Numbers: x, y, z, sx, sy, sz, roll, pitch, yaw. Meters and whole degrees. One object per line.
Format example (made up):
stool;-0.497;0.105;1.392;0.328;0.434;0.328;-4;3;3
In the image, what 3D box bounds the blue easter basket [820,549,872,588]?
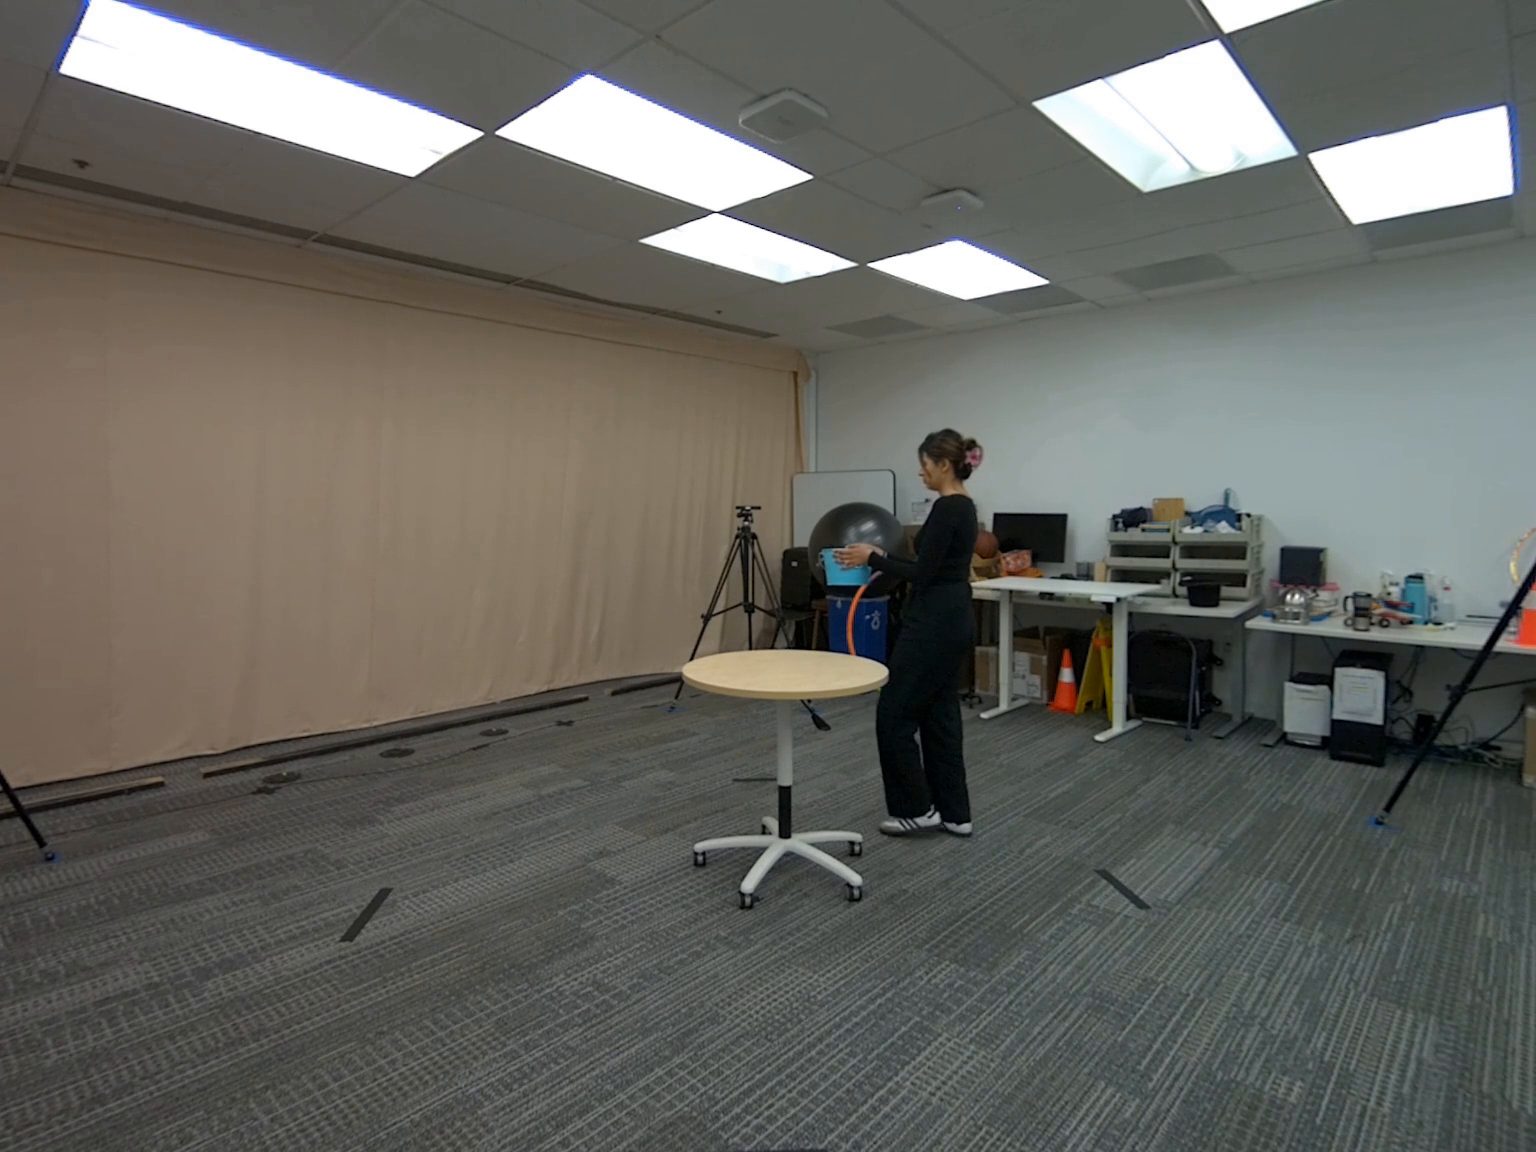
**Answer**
blue easter basket;0.366;-0.030;3.696;0.243;0.156;0.243;1;-3;-2
